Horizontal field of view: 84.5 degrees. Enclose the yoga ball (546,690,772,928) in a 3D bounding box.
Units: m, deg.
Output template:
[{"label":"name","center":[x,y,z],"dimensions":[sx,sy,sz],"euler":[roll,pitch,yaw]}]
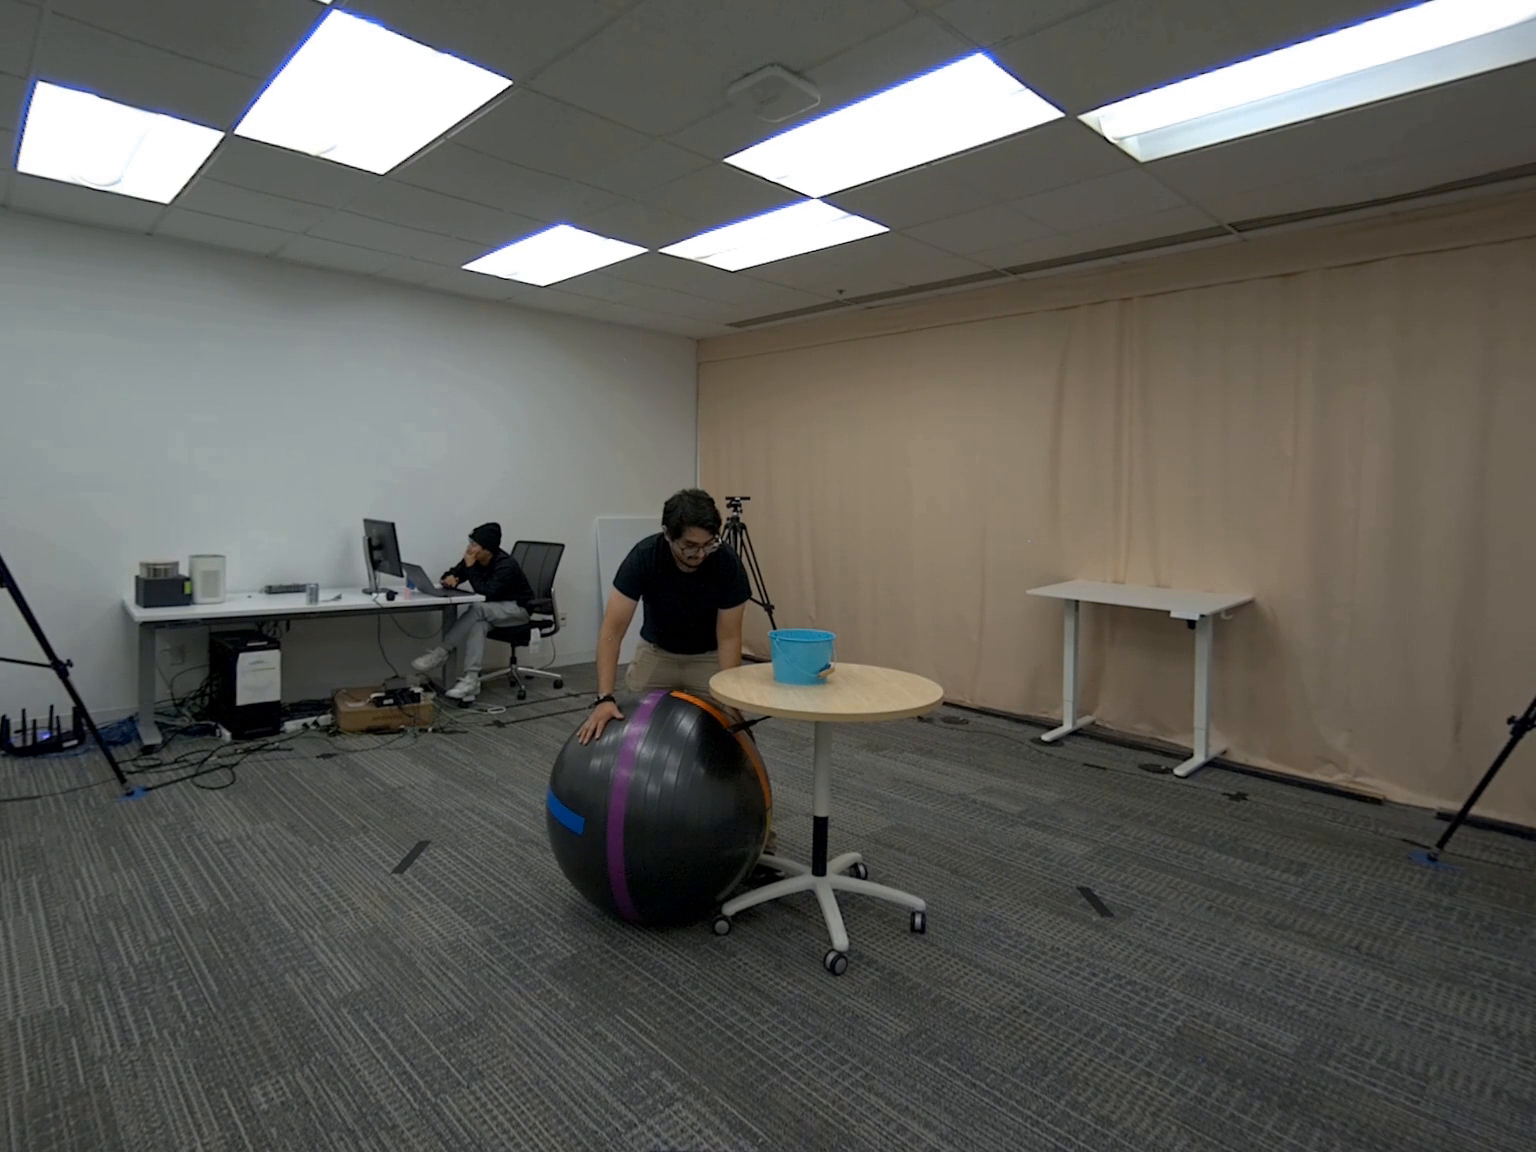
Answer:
[{"label":"yoga ball","center":[-0.380,0.780,2.855],"dimensions":[0.757,0.756,0.761],"euler":[1,4,-1]}]
